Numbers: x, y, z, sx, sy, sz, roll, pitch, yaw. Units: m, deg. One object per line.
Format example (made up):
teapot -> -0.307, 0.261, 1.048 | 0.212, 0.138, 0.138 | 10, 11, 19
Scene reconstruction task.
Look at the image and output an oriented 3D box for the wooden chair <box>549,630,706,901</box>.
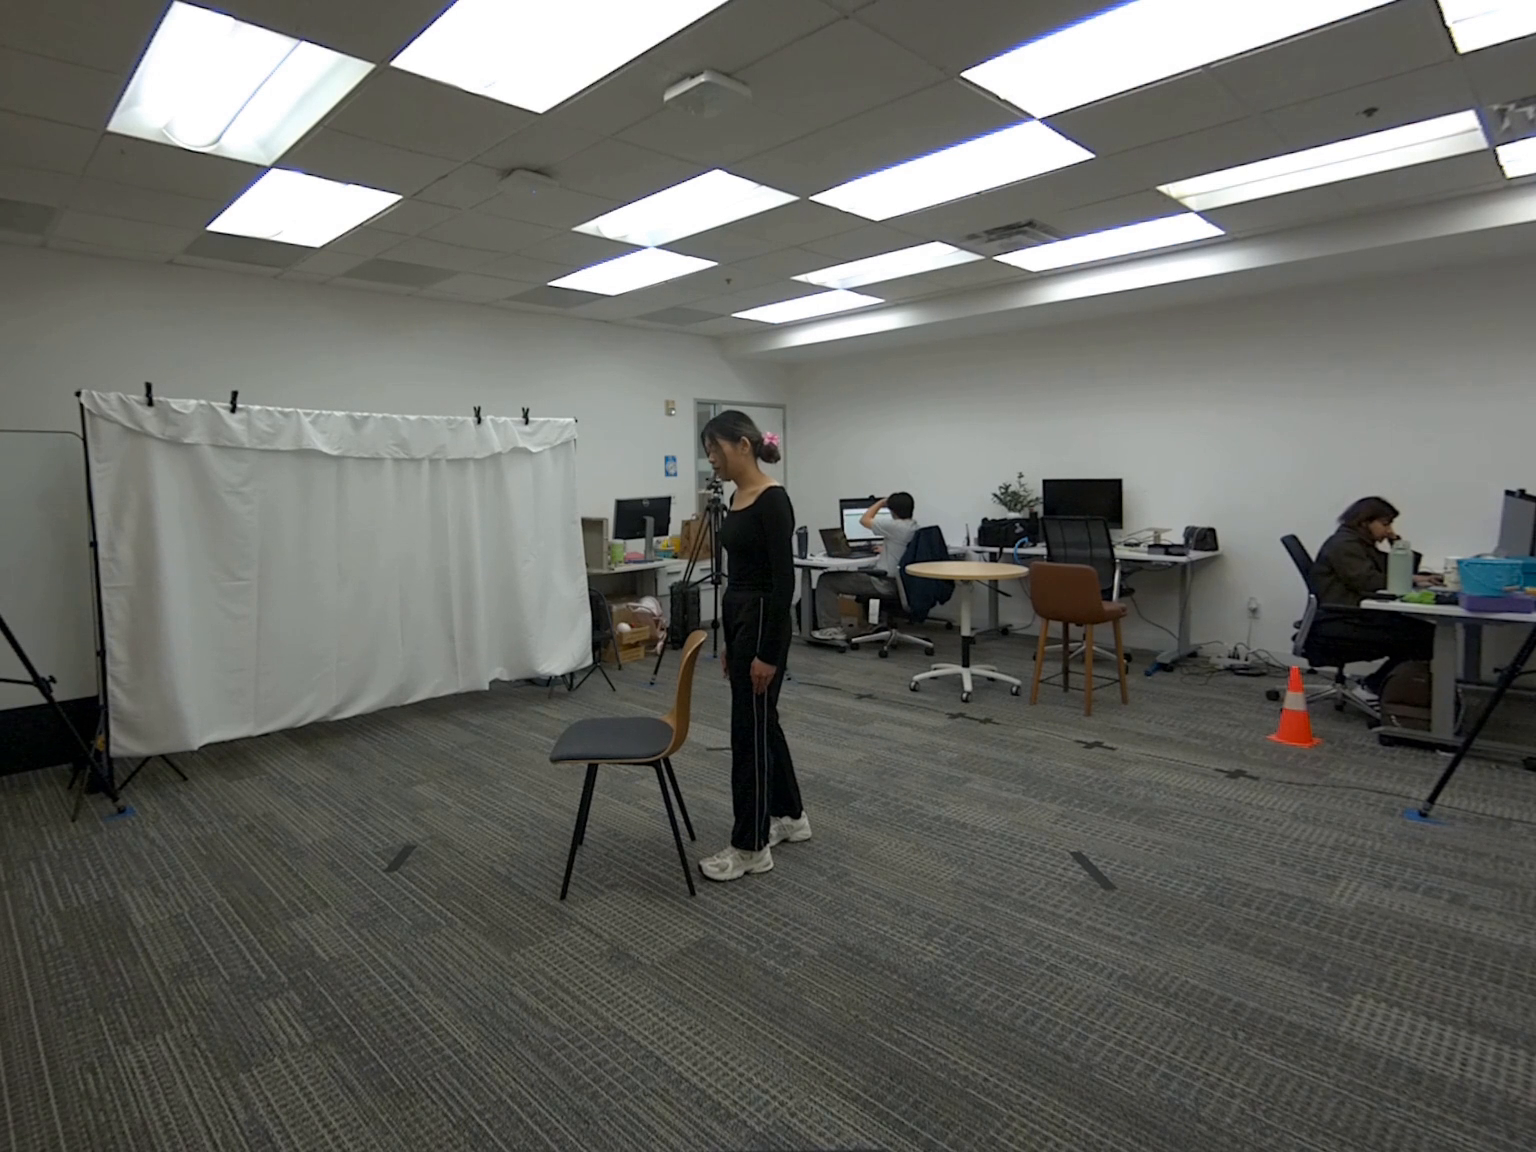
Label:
wooden chair -> -0.500, 0.630, 3.038 | 0.521, 0.874, 0.482 | 3, 5, -4
